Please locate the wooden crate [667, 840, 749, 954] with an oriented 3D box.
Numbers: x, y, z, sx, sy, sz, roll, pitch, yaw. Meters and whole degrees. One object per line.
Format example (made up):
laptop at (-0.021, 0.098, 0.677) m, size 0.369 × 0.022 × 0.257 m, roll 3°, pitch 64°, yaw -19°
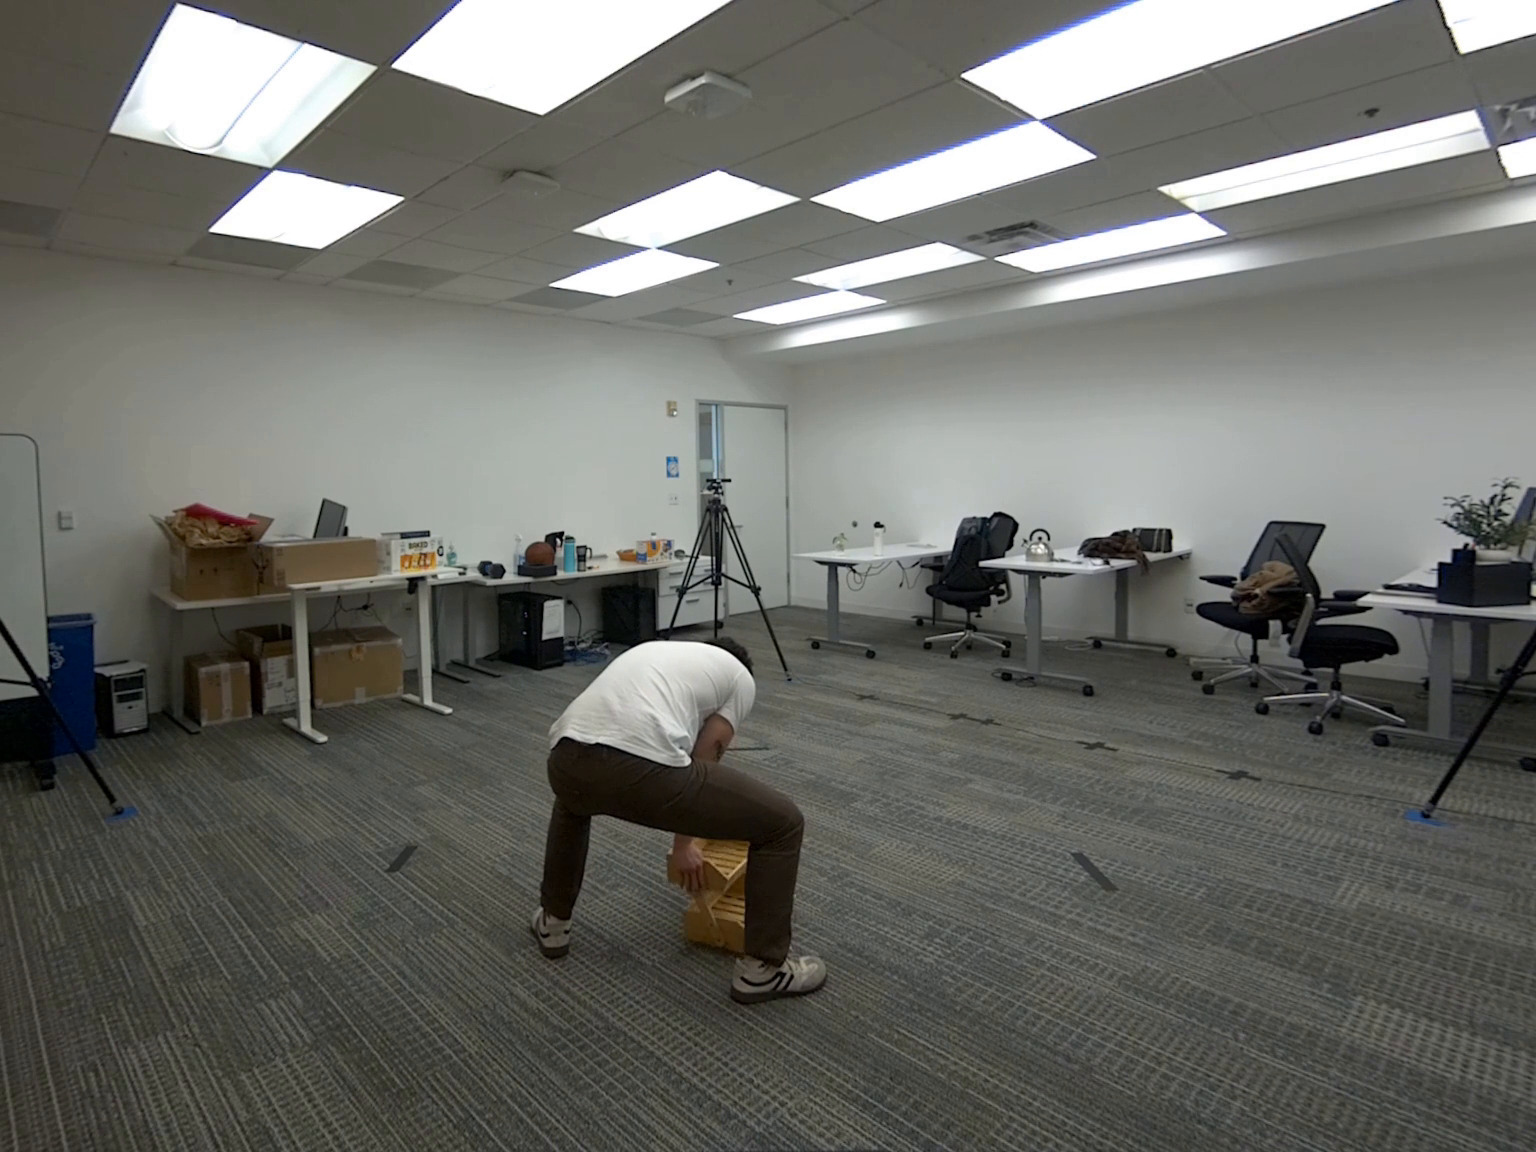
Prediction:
wooden crate at (-0.106, 0.971, 2.691) m, size 0.308 × 0.272 × 0.318 m, roll 1°, pitch 4°, yaw 22°
